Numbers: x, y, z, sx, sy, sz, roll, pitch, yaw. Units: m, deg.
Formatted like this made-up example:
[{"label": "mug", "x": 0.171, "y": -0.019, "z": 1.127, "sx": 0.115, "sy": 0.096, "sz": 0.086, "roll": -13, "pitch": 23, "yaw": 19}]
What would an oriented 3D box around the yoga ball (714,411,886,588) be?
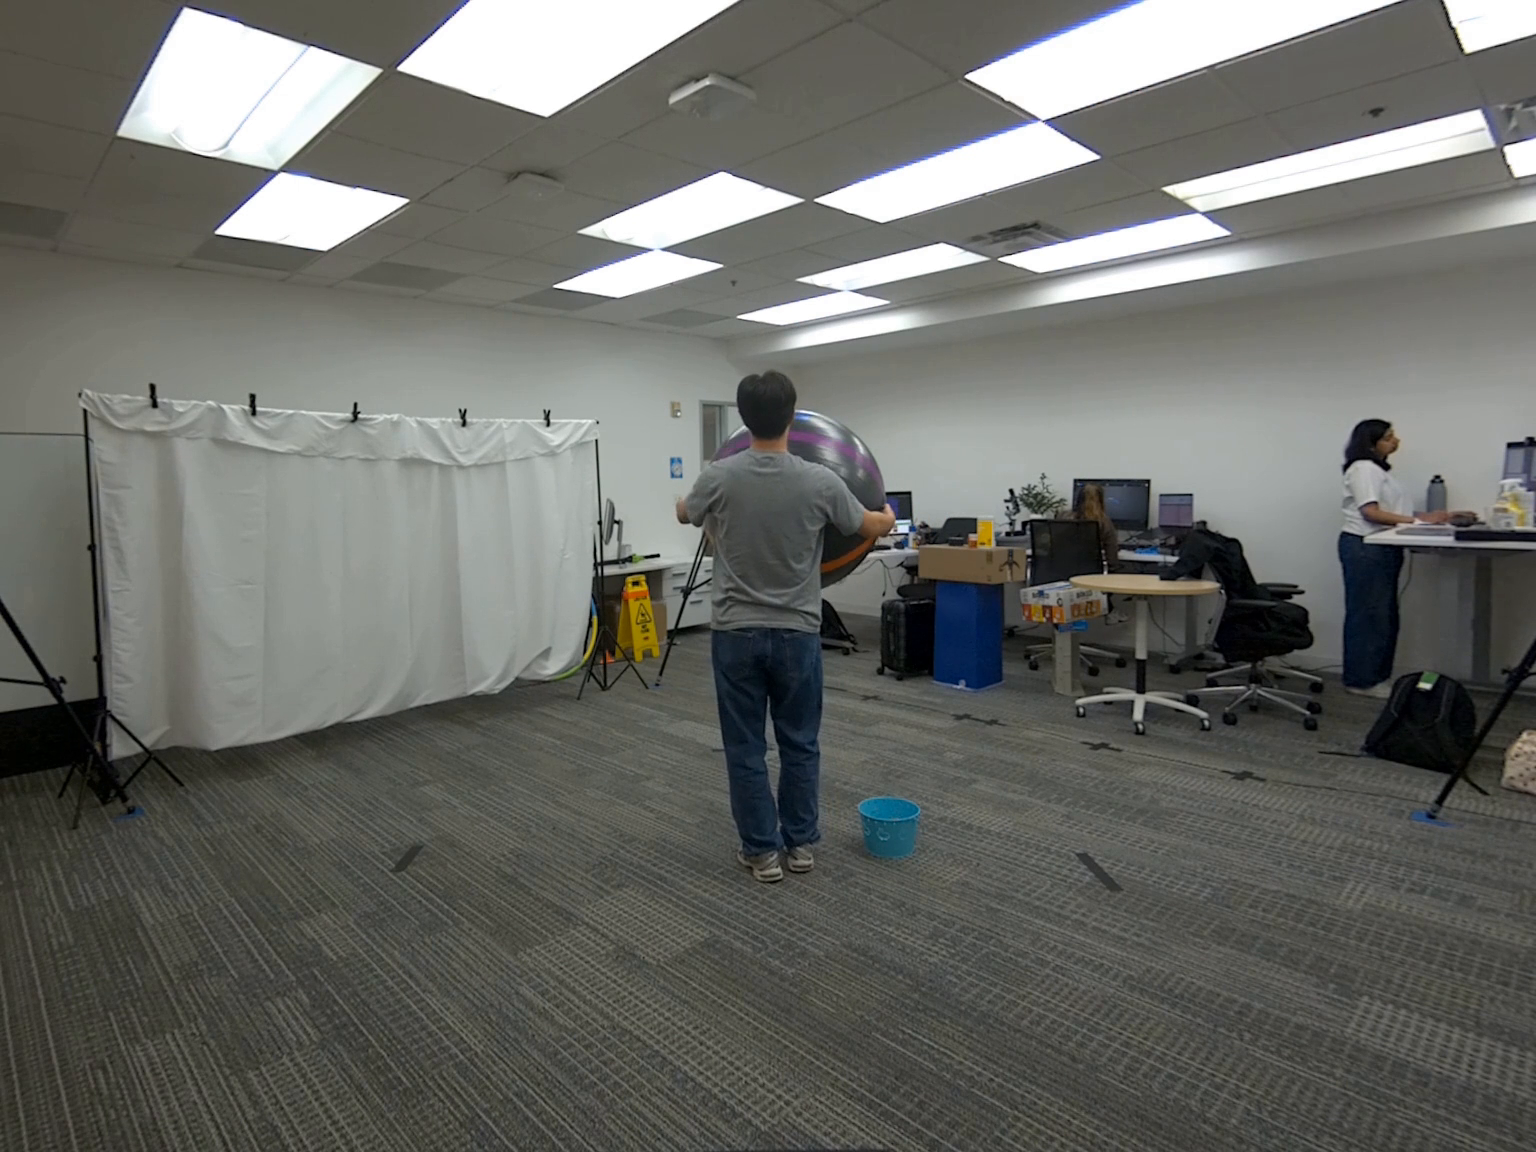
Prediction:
[{"label": "yoga ball", "x": 0.107, "y": -0.298, "z": 3.550, "sx": 0.757, "sy": 0.755, "sz": 0.762, "roll": -1, "pitch": 5, "yaw": -2}]
